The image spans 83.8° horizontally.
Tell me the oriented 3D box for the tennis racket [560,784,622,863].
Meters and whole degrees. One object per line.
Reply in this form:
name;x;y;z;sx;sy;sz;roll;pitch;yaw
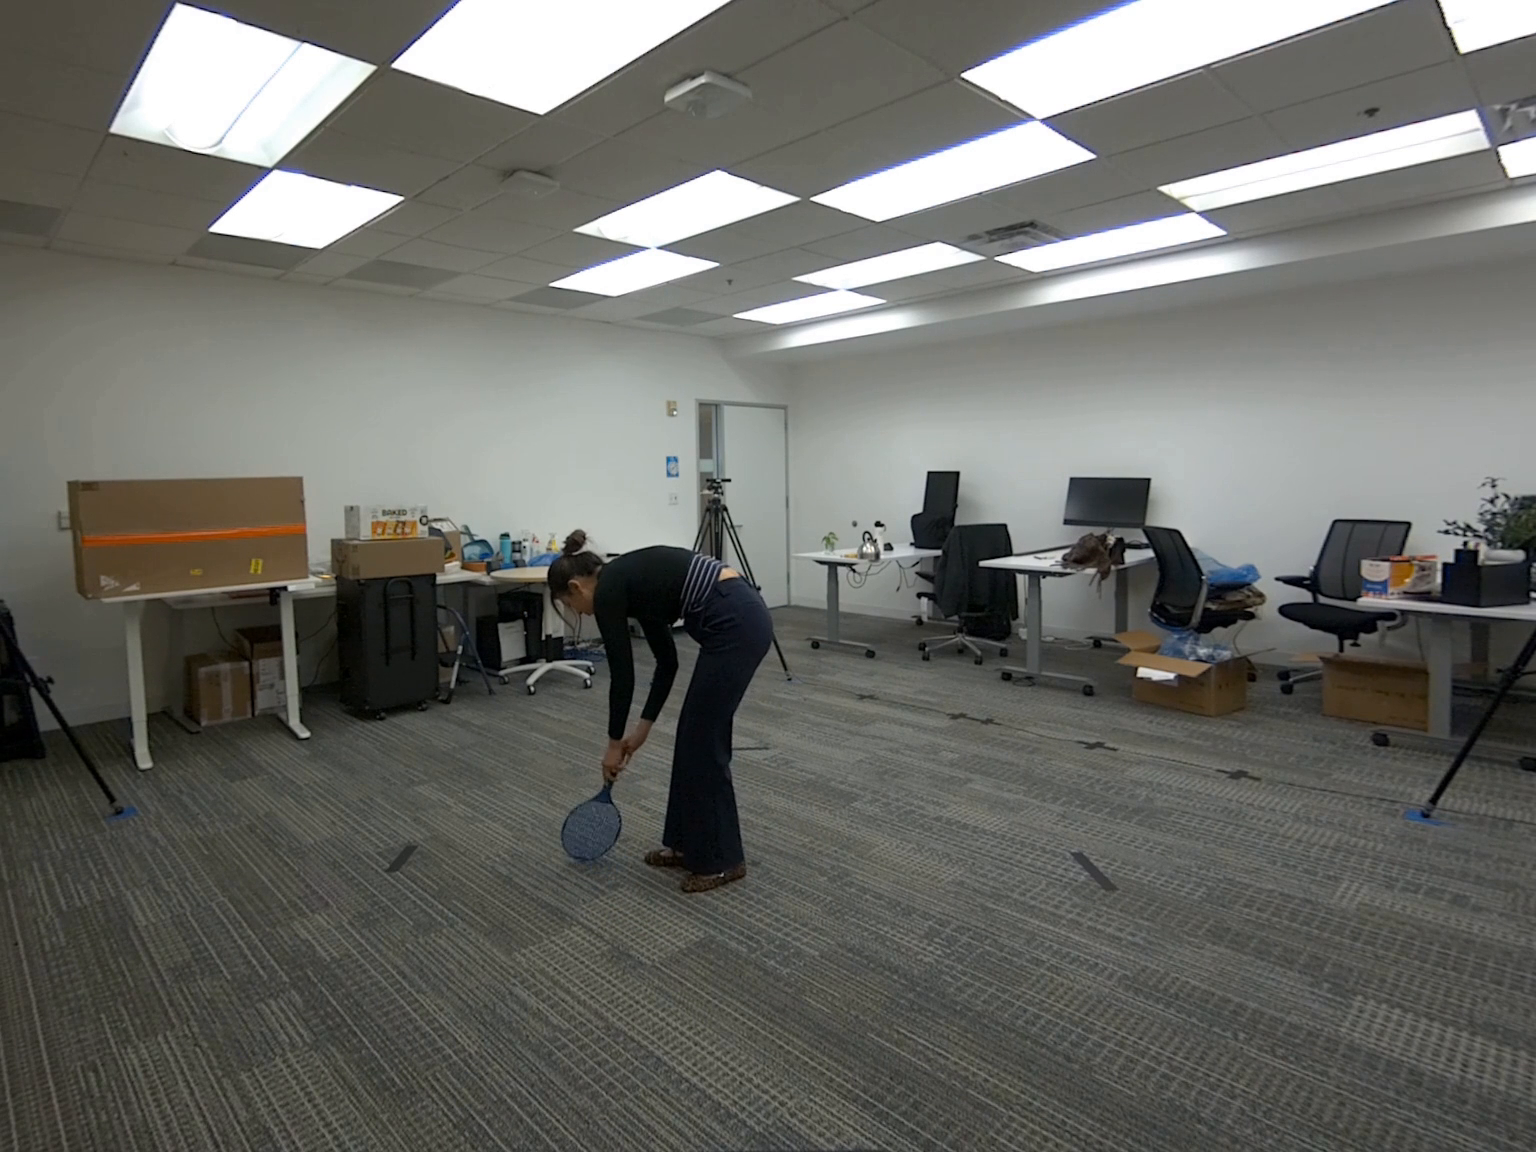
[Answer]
tennis racket;-0.588;0.853;3.107;0.222;0.429;0.031;33;20;36
